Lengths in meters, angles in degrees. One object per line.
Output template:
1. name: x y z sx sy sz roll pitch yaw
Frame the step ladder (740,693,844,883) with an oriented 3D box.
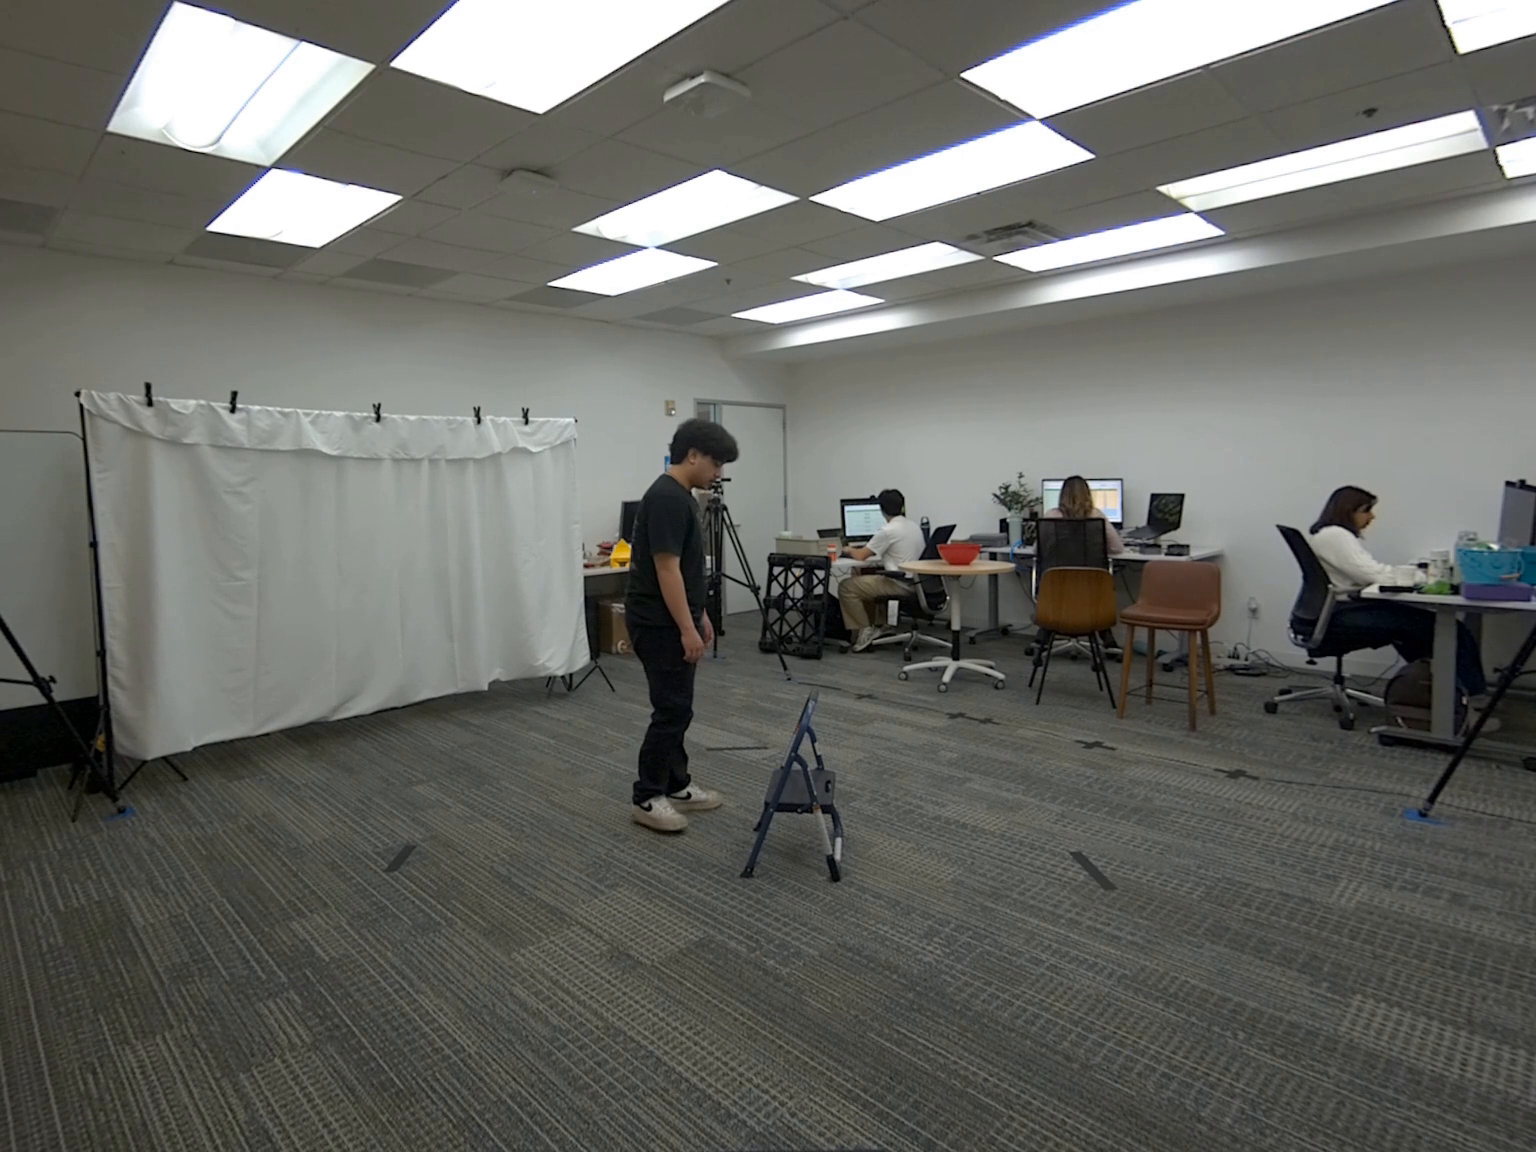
1. step ladder: 0.102 0.735 3.150 0.352 0.604 0.429 -1 4 7
